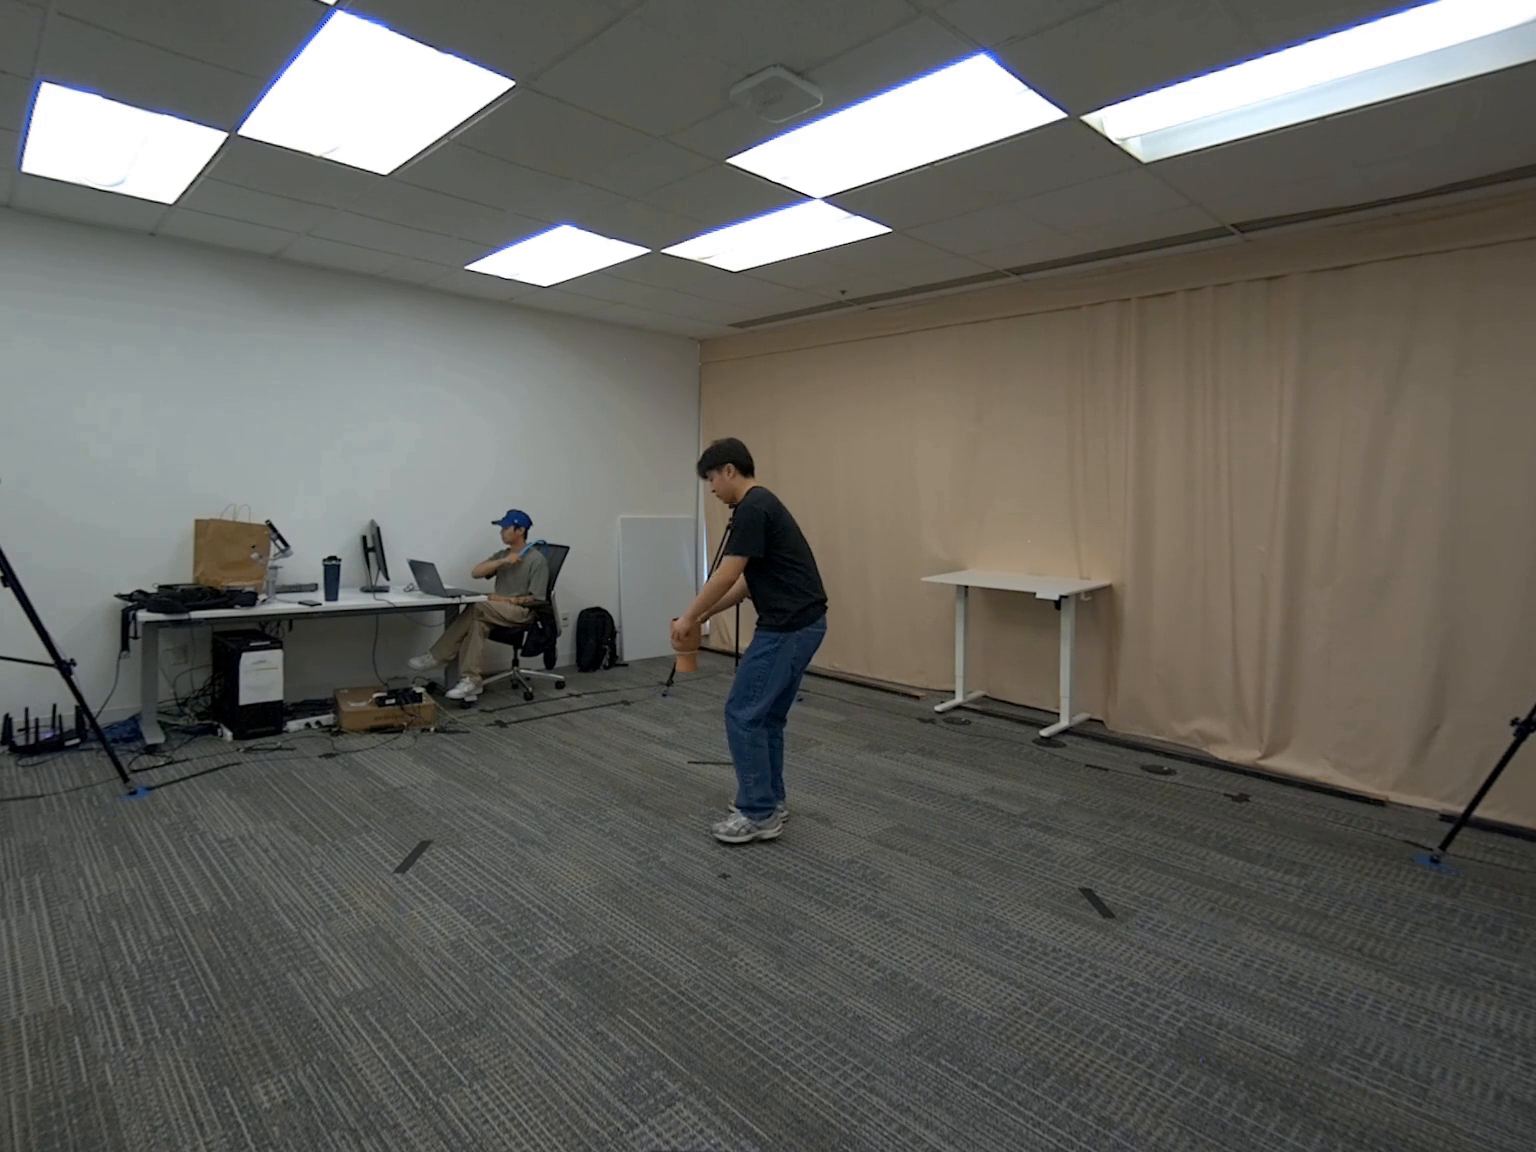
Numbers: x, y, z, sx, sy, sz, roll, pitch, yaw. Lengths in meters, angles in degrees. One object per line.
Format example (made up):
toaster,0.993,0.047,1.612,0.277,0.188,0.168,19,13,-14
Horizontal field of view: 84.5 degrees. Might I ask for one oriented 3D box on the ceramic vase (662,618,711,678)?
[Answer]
ceramic vase,-0.348,0.299,3.600,0.137,0.219,0.156,1,7,25
